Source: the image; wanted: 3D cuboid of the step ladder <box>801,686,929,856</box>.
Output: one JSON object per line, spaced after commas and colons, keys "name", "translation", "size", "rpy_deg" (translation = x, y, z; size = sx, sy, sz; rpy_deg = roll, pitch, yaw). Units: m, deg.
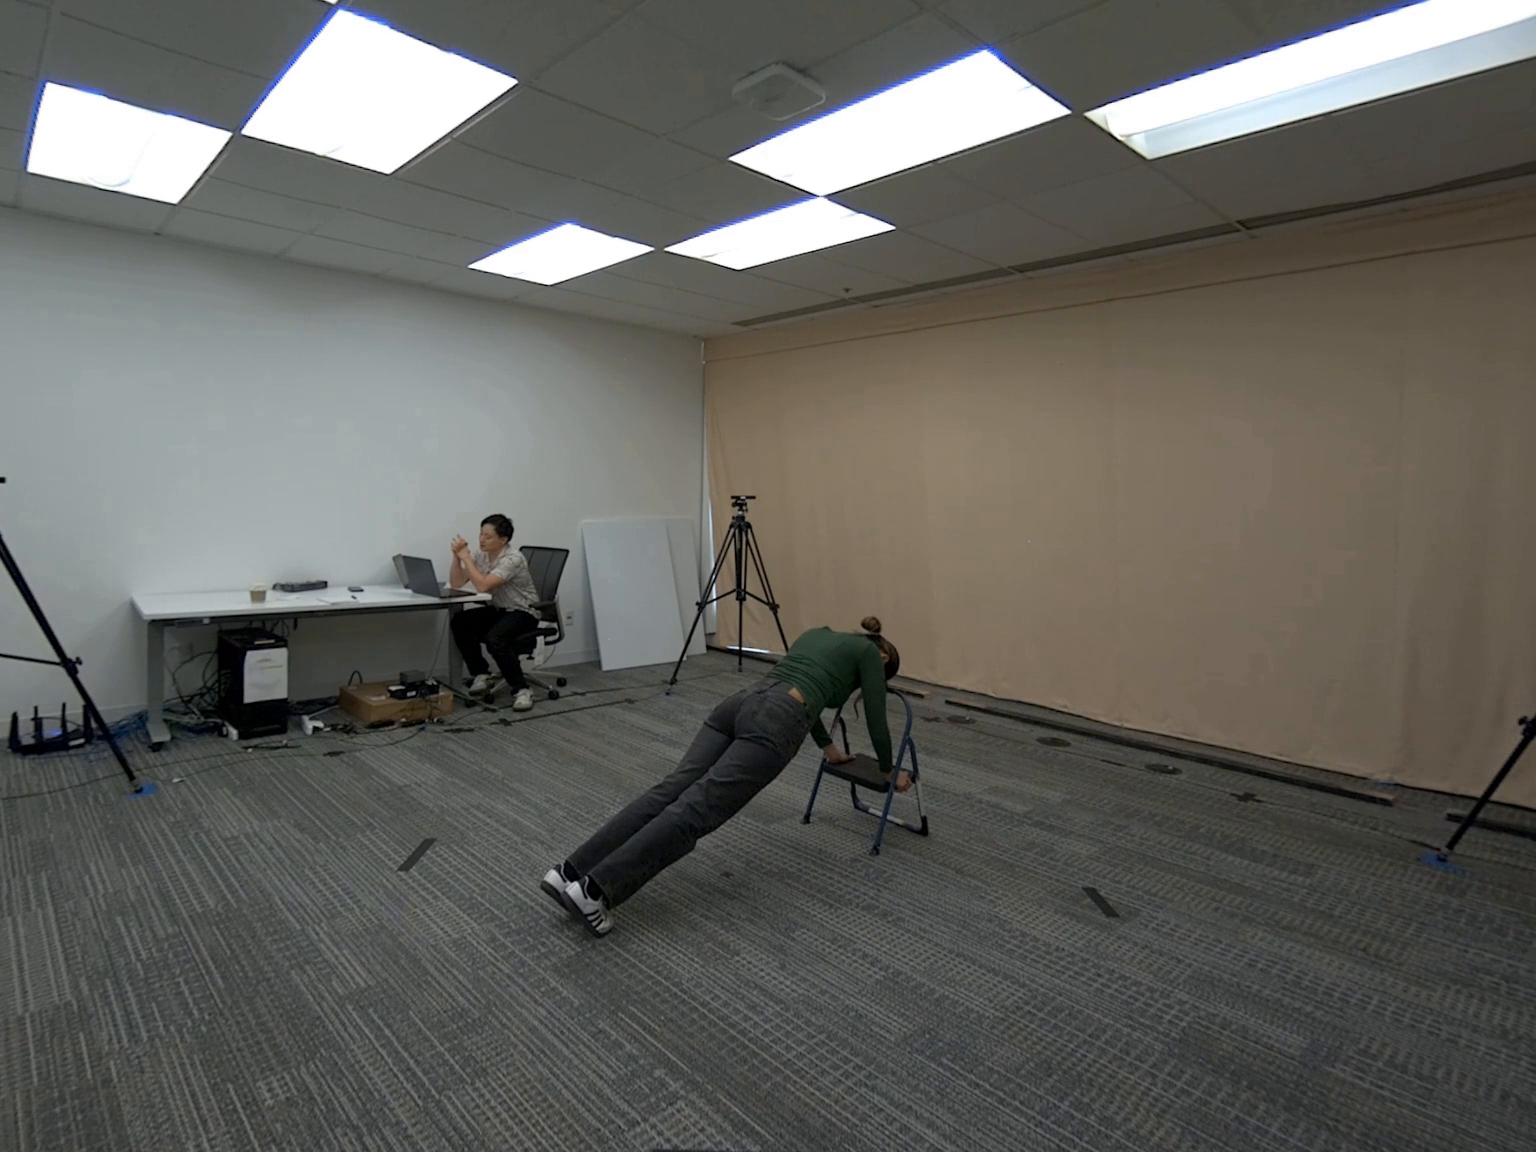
{"name": "step ladder", "translation": [0.411, 0.775, 3.556], "size": [0.341, 0.605, 0.441], "rpy_deg": [-1, 4, -40]}
